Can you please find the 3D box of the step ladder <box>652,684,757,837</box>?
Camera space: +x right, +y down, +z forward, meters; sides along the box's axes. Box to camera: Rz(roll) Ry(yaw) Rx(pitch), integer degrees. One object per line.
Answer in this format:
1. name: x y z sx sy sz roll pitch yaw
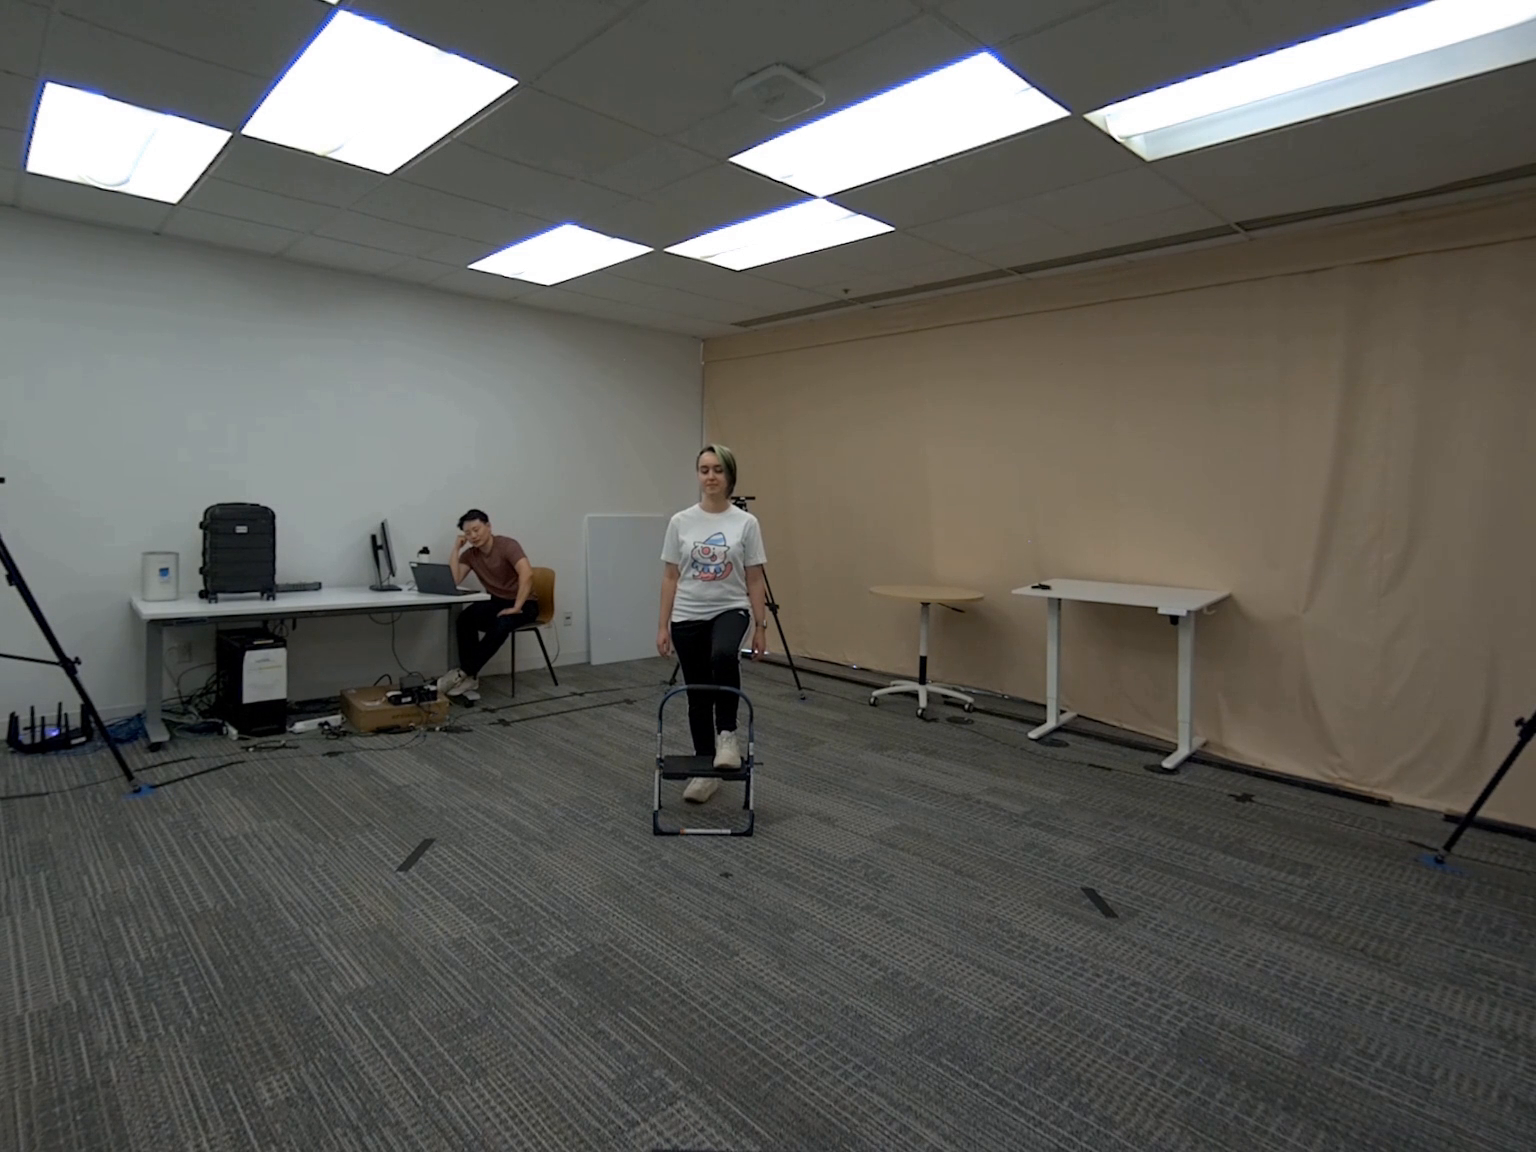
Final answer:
1. step ladder: -0.283 0.760 3.615 0.429 0.605 0.351 1 3 -4
